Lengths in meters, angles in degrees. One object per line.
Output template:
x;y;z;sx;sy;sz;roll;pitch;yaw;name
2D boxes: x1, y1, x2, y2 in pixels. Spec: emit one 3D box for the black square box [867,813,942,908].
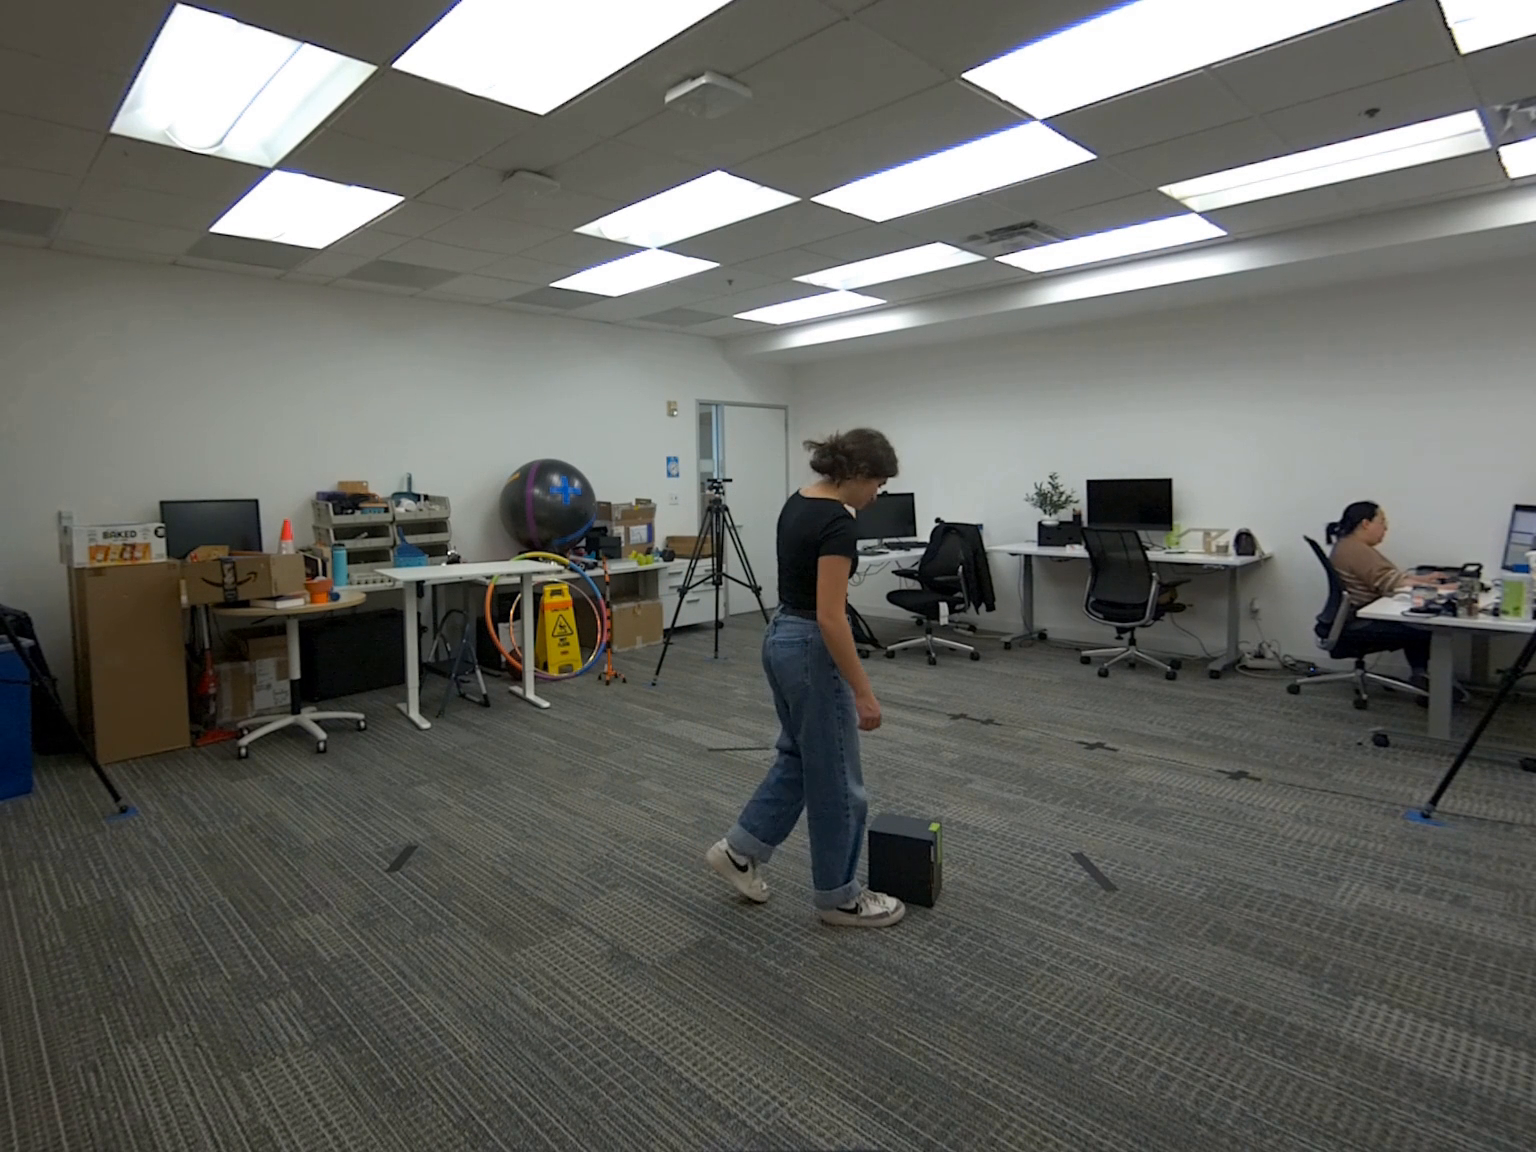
0.469;0.944;2.868;0.222;0.227;0.153;2;6;23;black square box
